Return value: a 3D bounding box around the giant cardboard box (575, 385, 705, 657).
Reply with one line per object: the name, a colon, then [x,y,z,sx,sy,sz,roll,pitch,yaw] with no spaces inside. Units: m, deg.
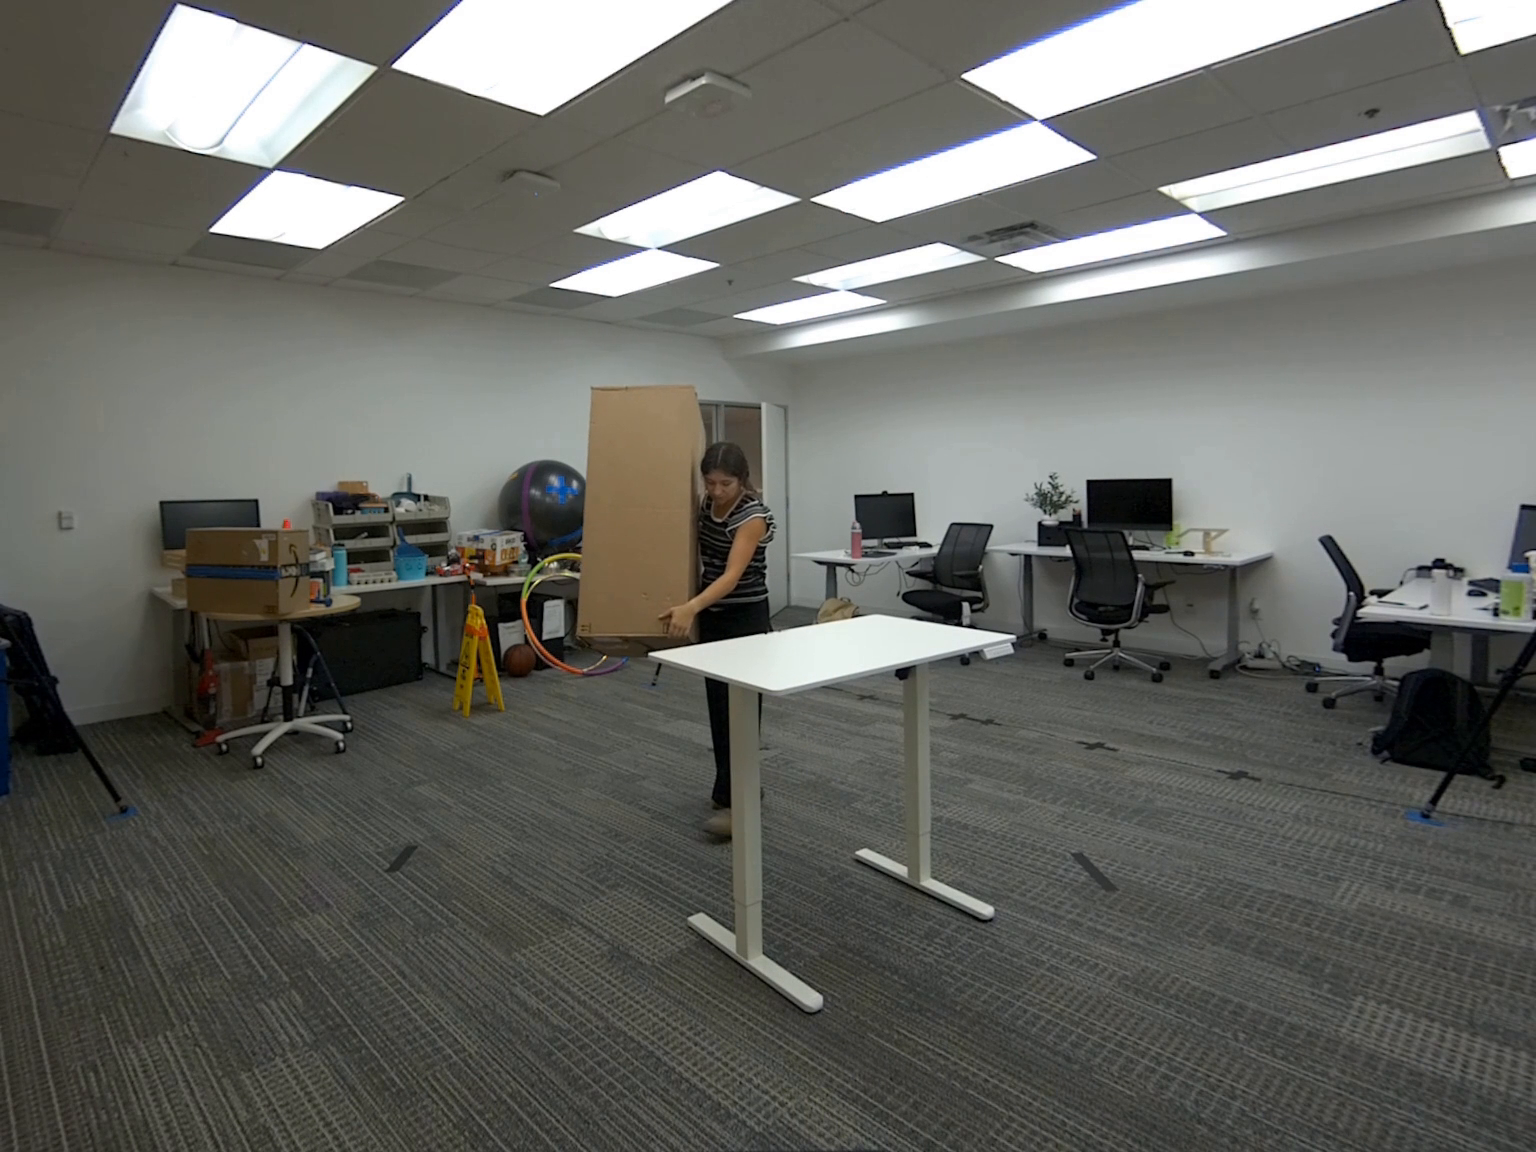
giant cardboard box: [-0.506,-0.207,3.595,0.428,1.040,0.567,0,-15,3]
